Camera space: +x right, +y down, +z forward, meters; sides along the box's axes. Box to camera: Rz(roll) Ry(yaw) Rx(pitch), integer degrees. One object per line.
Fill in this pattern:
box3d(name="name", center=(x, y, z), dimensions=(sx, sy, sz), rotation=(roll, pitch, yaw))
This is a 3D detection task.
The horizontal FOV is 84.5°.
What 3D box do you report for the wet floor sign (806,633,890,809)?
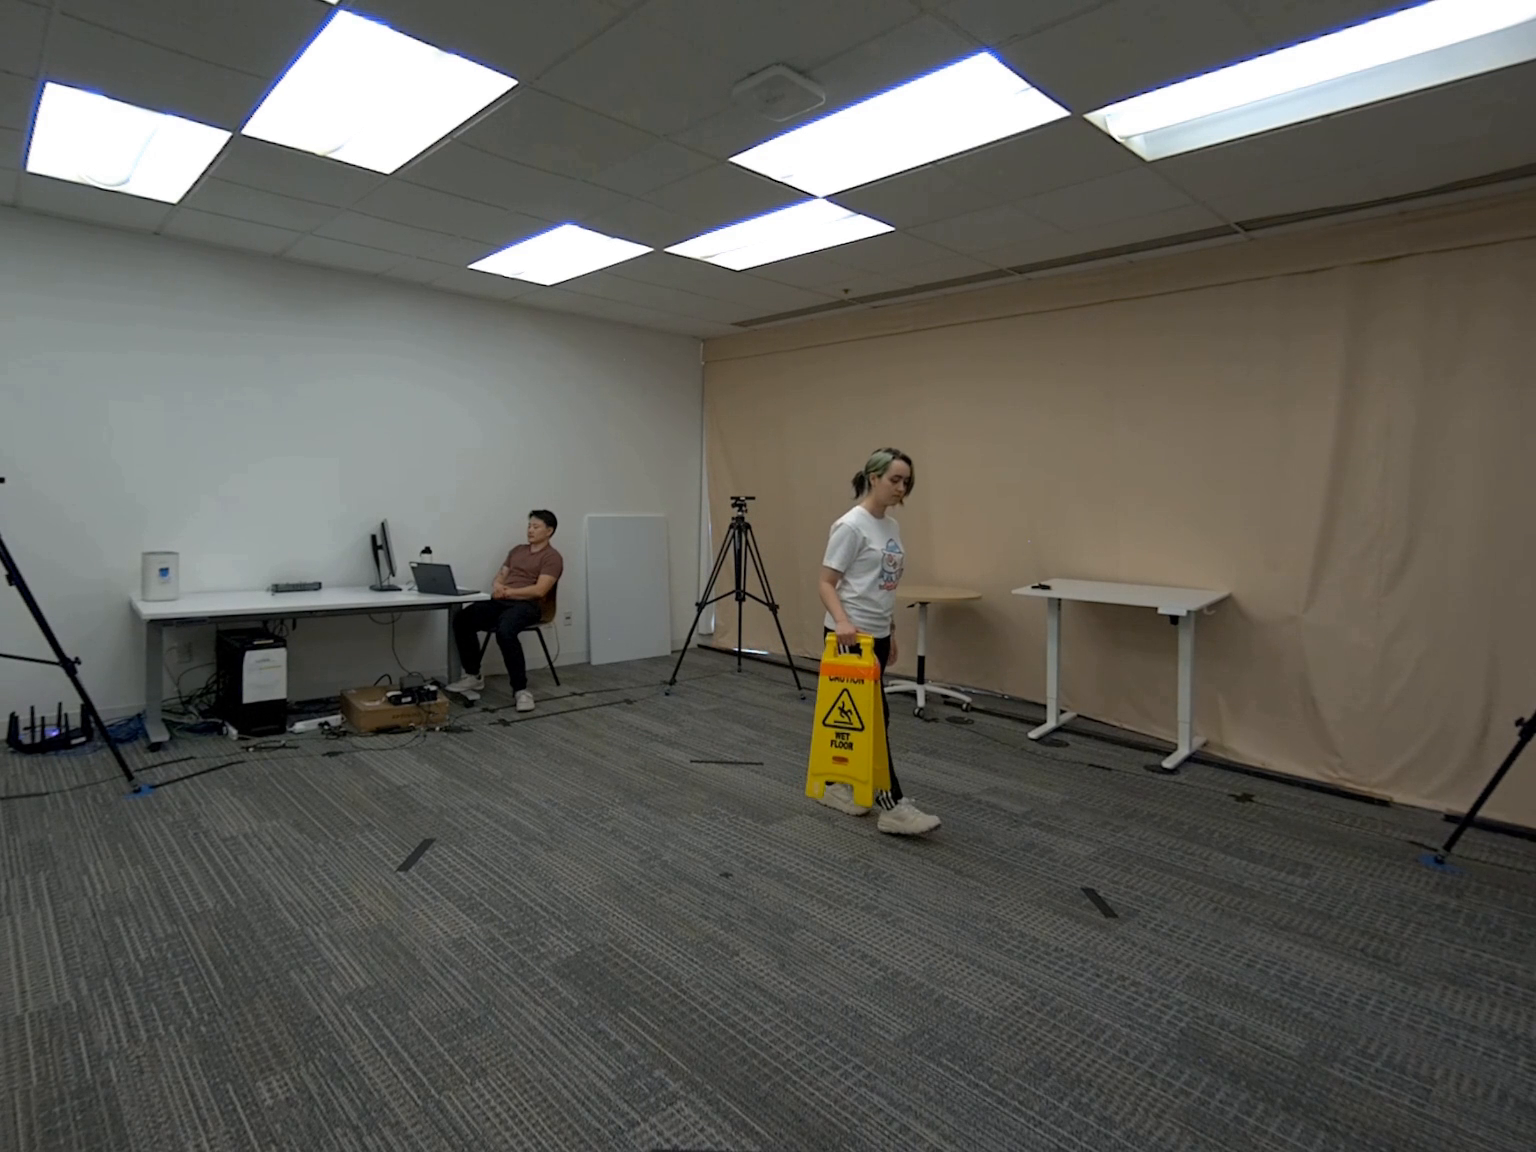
box3d(name="wet floor sign", center=(0.323, 0.563, 3.415), dimensions=(0.288, 0.645, 0.285), rotation=(1, 3, 27))
